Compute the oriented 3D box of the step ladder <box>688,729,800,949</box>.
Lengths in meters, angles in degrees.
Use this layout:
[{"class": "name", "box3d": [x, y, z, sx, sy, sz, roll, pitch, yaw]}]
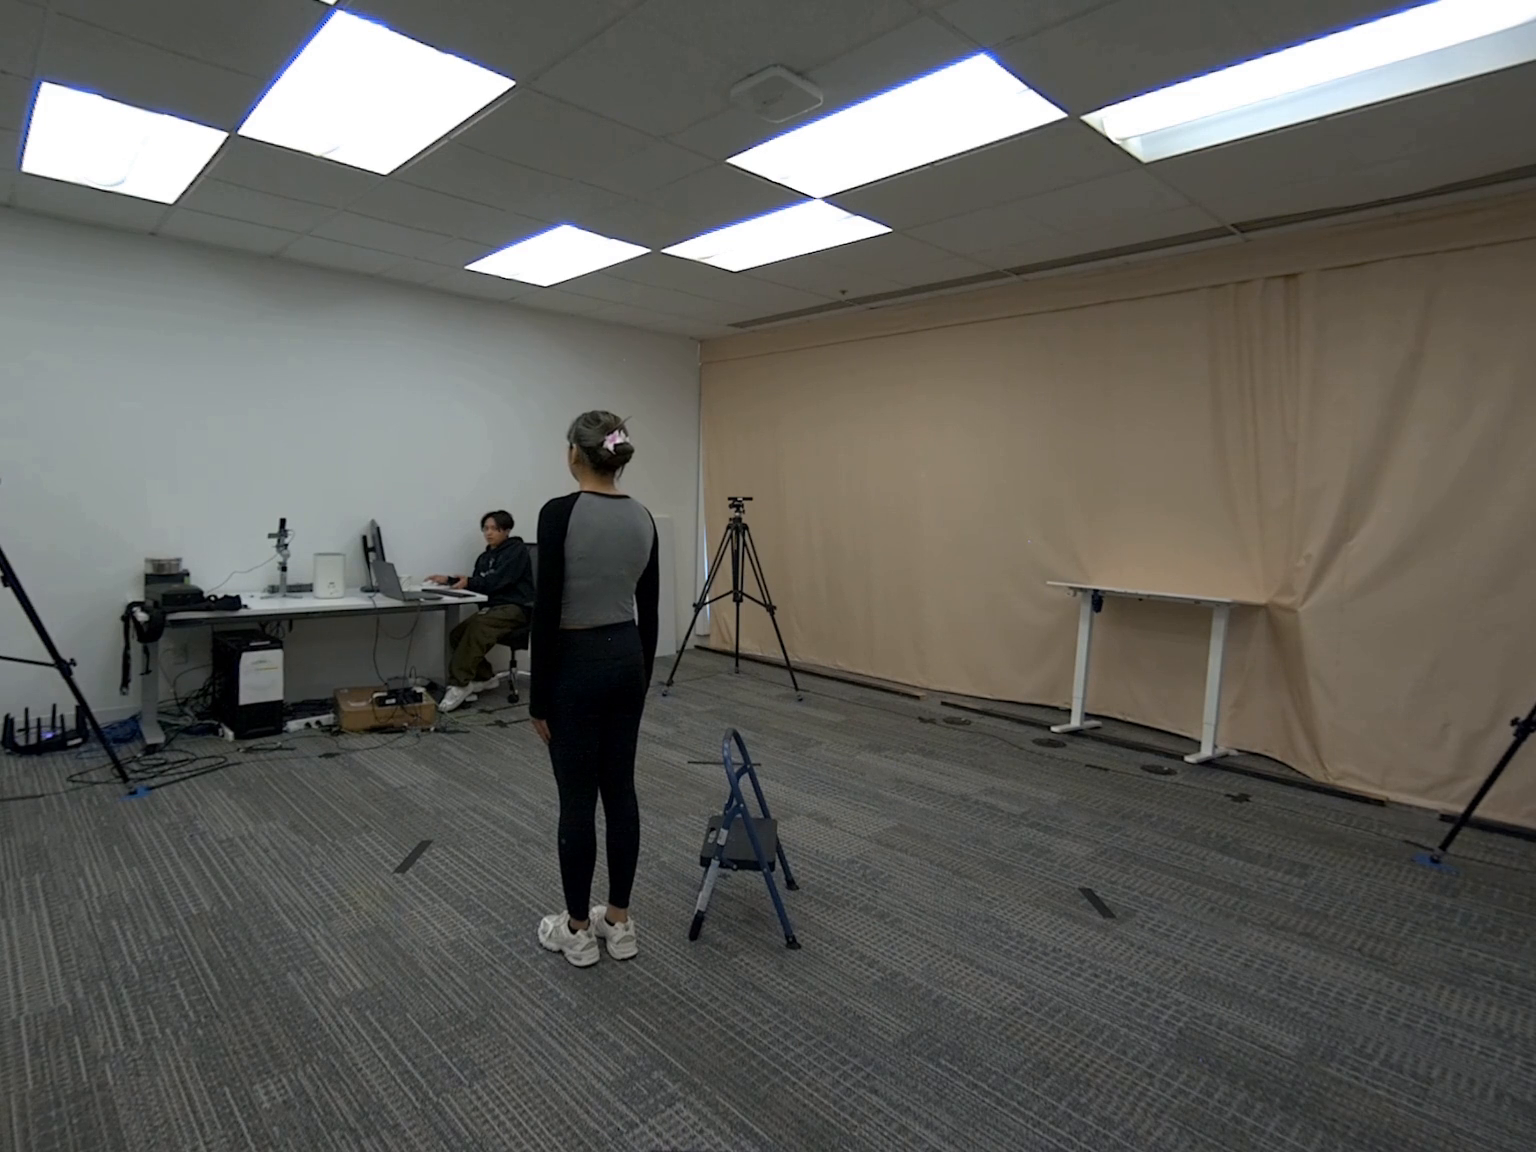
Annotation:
[{"class": "step ladder", "box3d": [-0.071, 0.834, 2.816, 0.350, 0.605, 0.431, 2, 3, 1]}]
